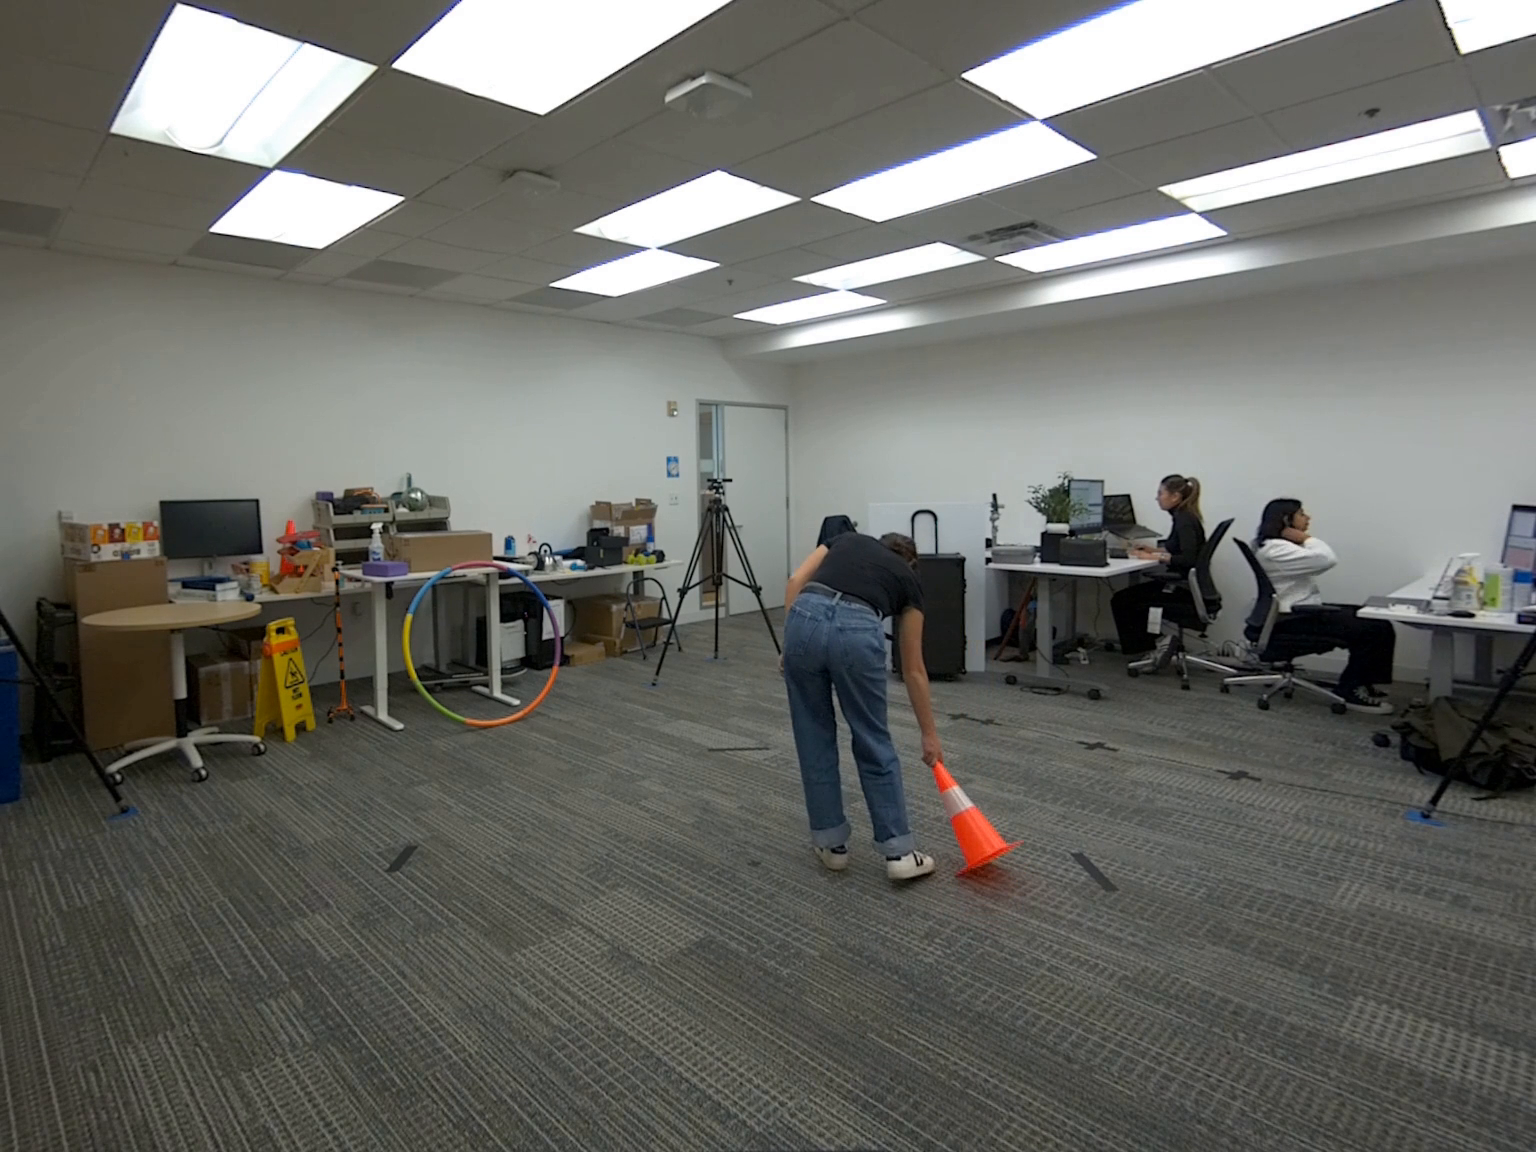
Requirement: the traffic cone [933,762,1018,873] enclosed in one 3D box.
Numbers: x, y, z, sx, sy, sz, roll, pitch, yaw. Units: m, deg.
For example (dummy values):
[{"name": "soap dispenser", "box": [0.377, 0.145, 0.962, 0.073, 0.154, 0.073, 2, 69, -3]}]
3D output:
[{"name": "traffic cone", "box": [0.682, 0.828, 3.056, 0.198, 0.396, 0.203, -7, -33, -33]}]
